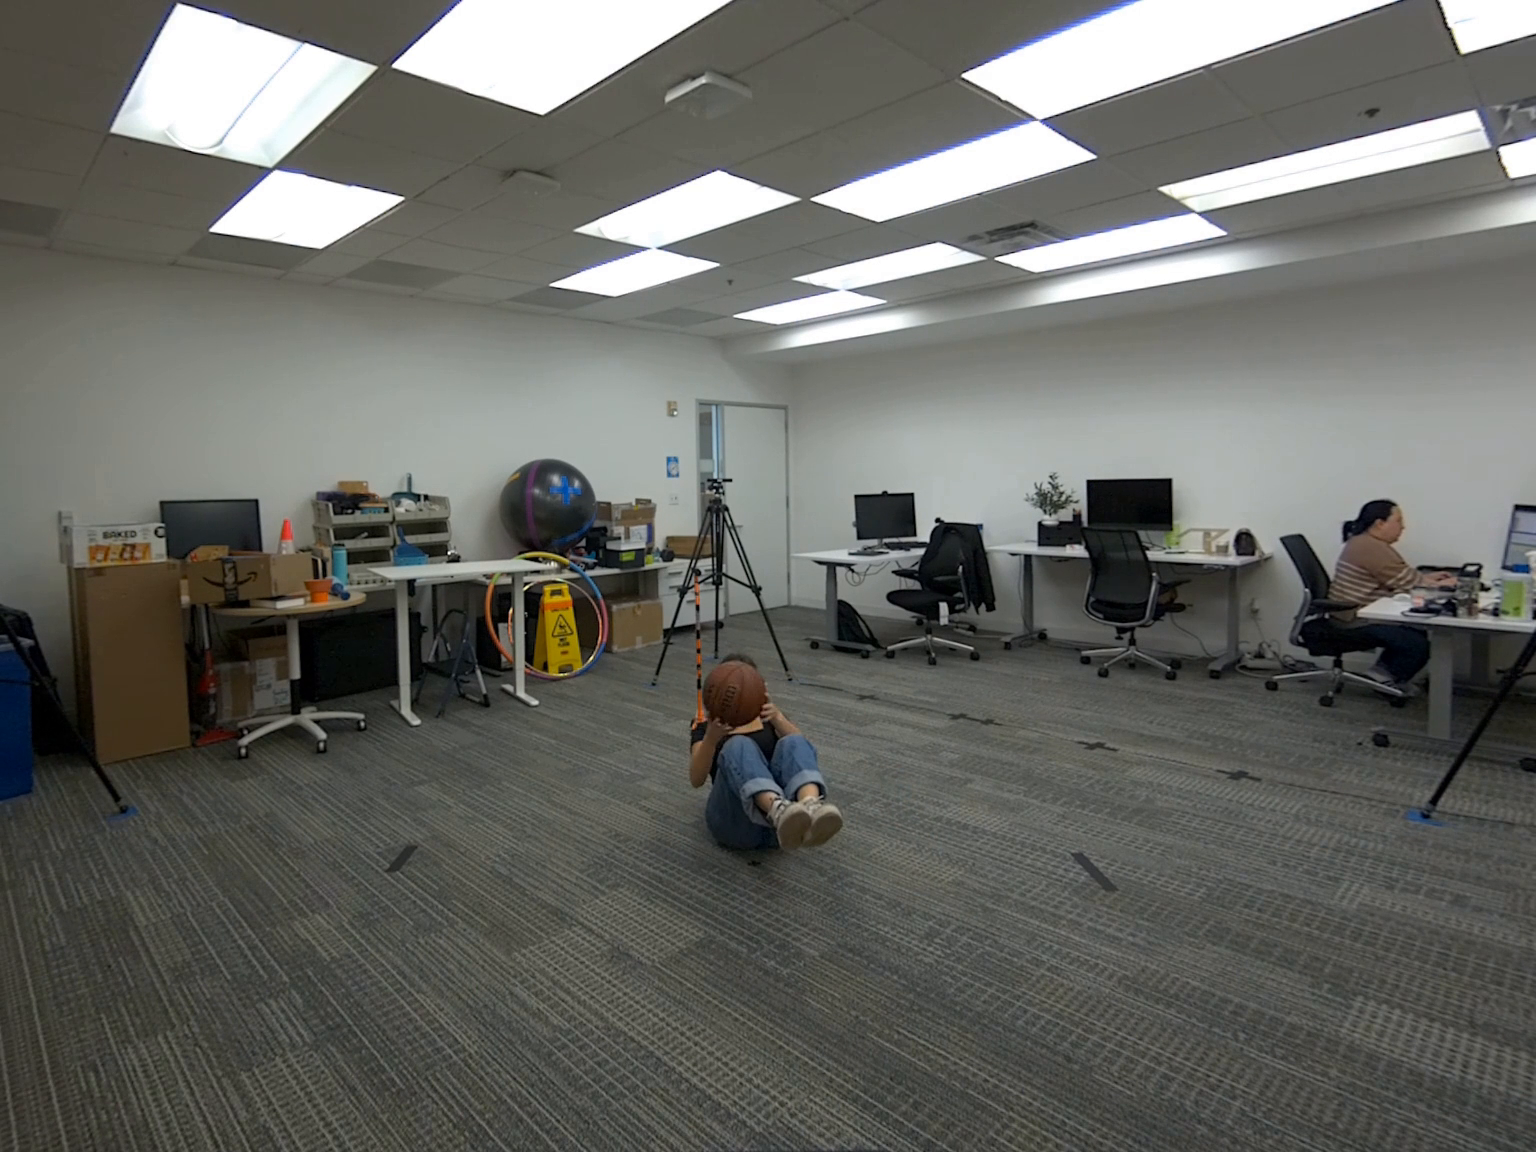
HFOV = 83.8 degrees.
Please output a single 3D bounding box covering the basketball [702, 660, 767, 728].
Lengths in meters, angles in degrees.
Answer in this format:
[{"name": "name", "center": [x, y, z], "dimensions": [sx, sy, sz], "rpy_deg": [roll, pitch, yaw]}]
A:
[{"name": "basketball", "center": [-0.119, 0.442, 3.143], "dimensions": [0.236, 0.235, 0.237], "rpy_deg": [-1, 5, -2]}]
